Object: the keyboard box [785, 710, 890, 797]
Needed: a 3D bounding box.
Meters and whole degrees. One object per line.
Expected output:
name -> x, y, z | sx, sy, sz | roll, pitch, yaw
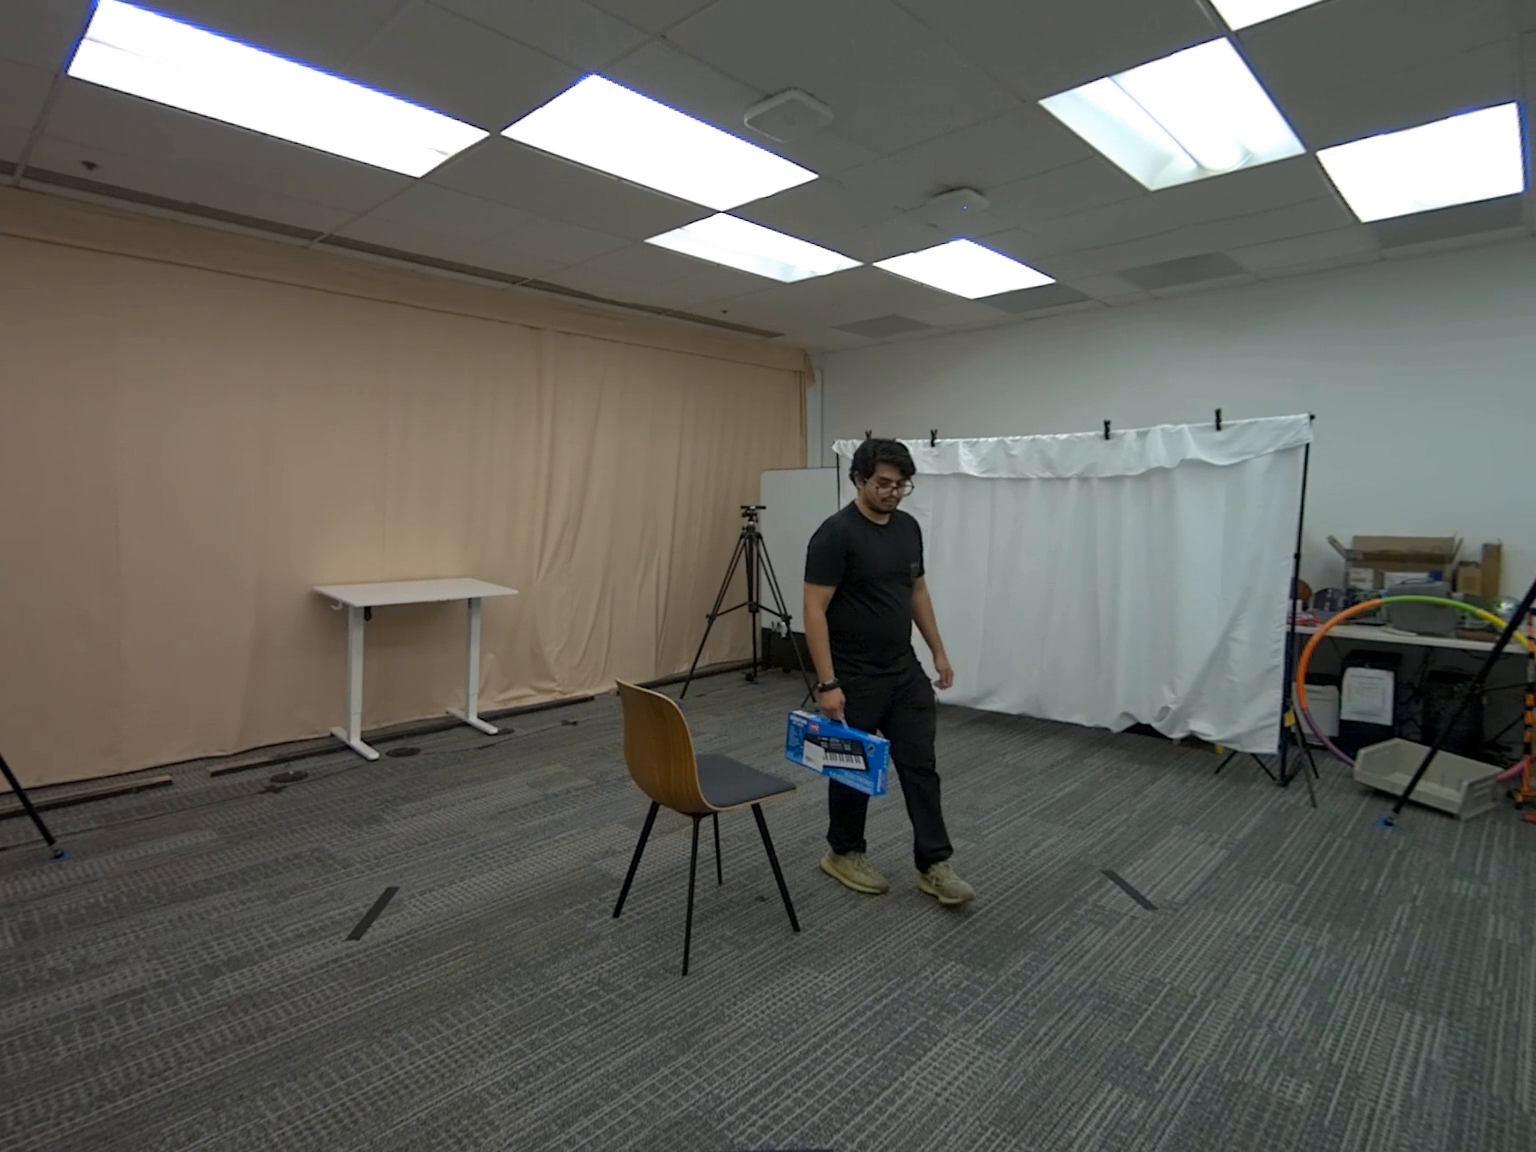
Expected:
keyboard box -> 0.234, 0.591, 2.853 | 0.057, 0.176, 0.451 | 3, 4, -39
